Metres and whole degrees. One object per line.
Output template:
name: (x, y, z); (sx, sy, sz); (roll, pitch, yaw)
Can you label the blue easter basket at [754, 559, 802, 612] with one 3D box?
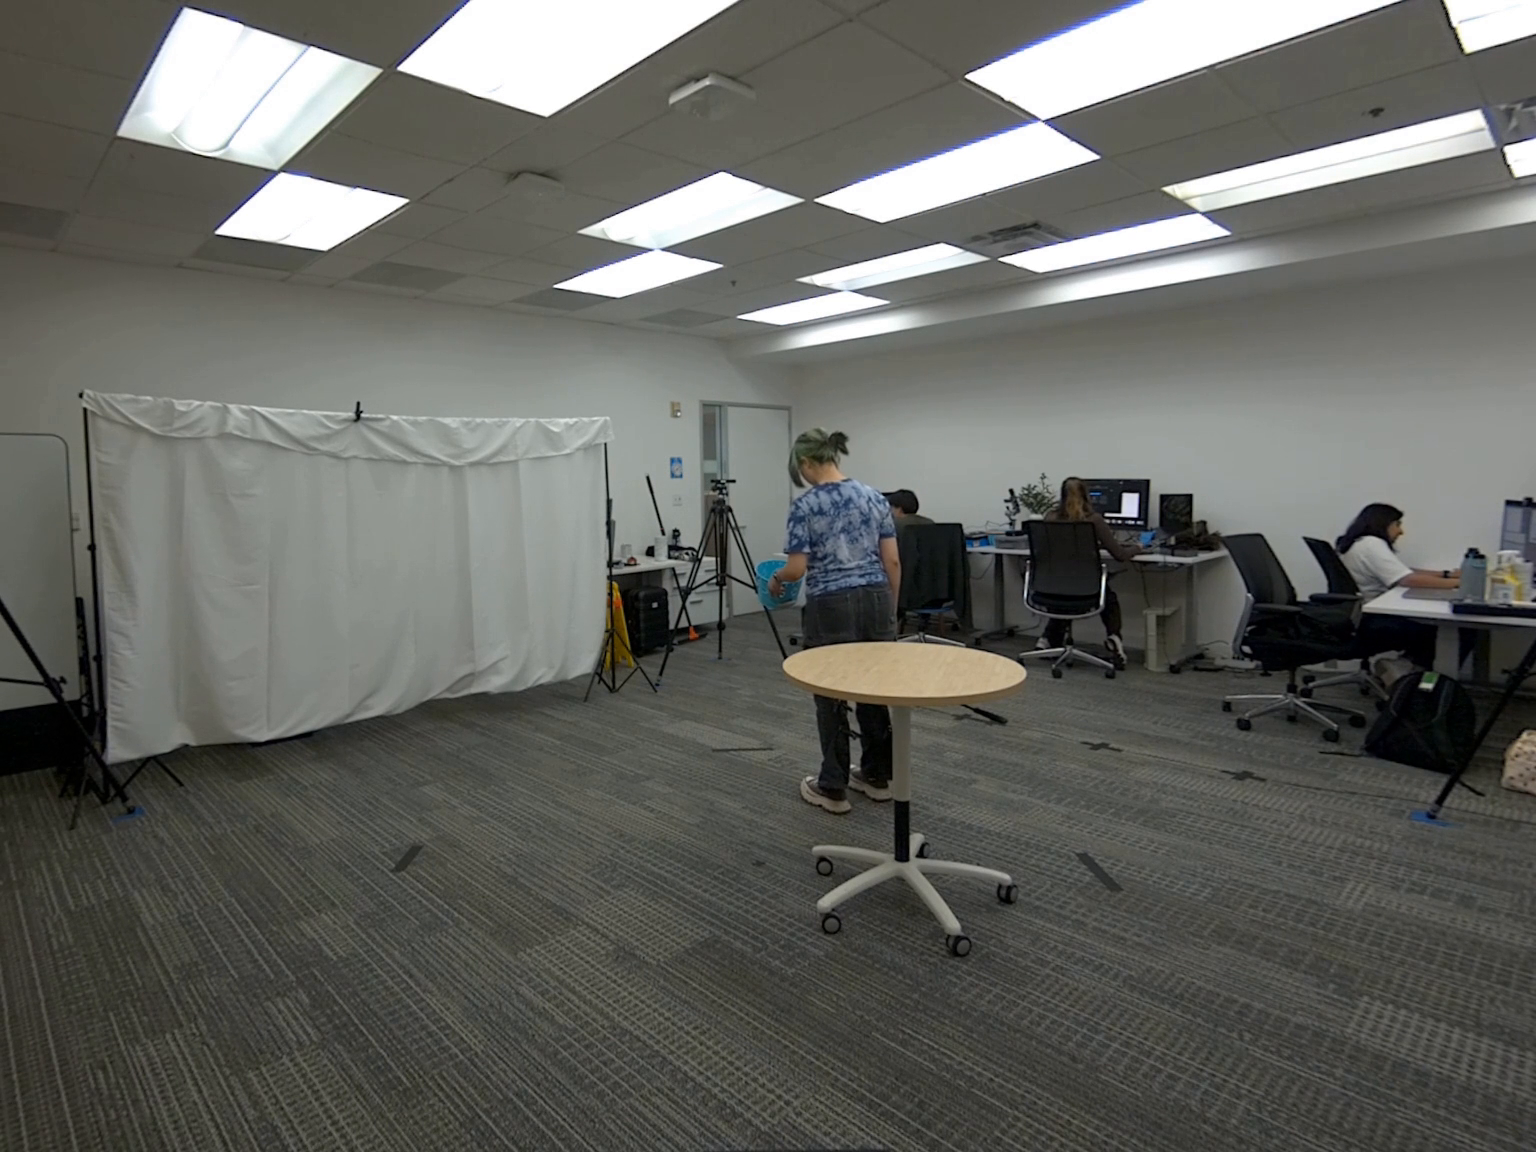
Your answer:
blue easter basket: (0.051, 0.049, 3.957); (0.243, 0.153, 0.249); (2, 25, -3)
